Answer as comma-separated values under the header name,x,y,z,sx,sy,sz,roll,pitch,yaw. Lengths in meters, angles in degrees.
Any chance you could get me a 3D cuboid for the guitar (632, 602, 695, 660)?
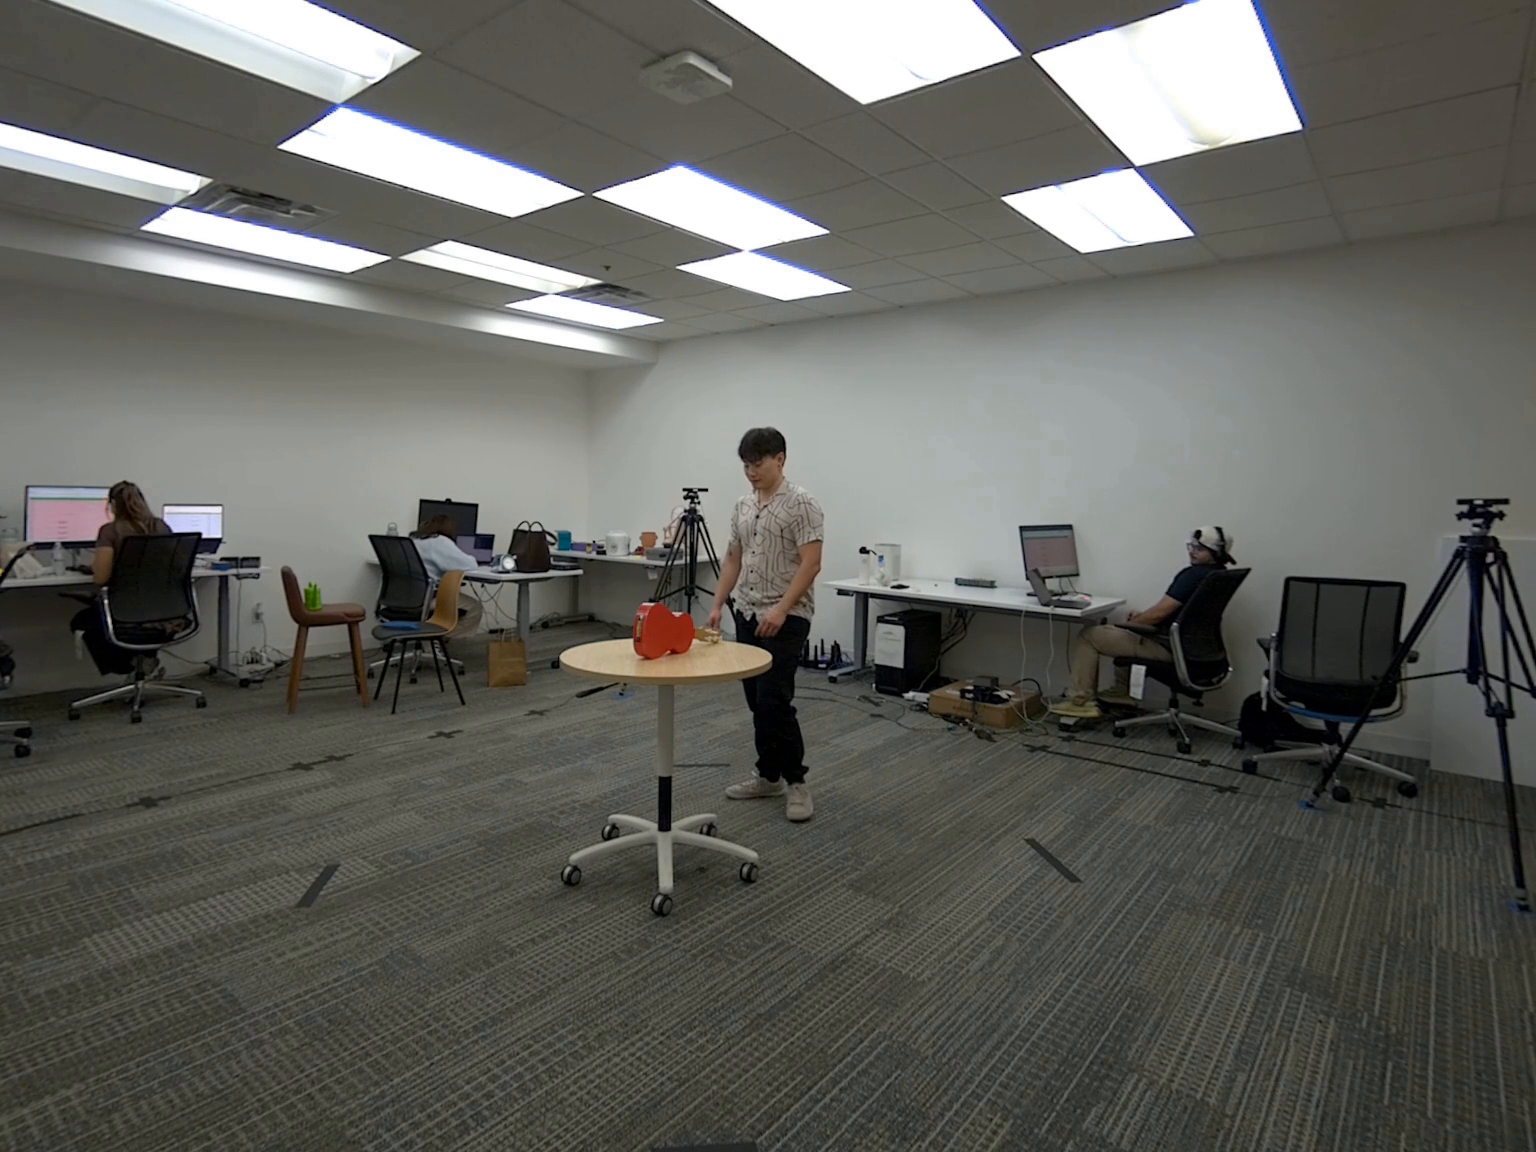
name,x,y,z,sx,sy,sz,roll,pitch,yaw
guitar,-0.328,0.184,3.172,0.073,0.193,0.483,1,3,35
